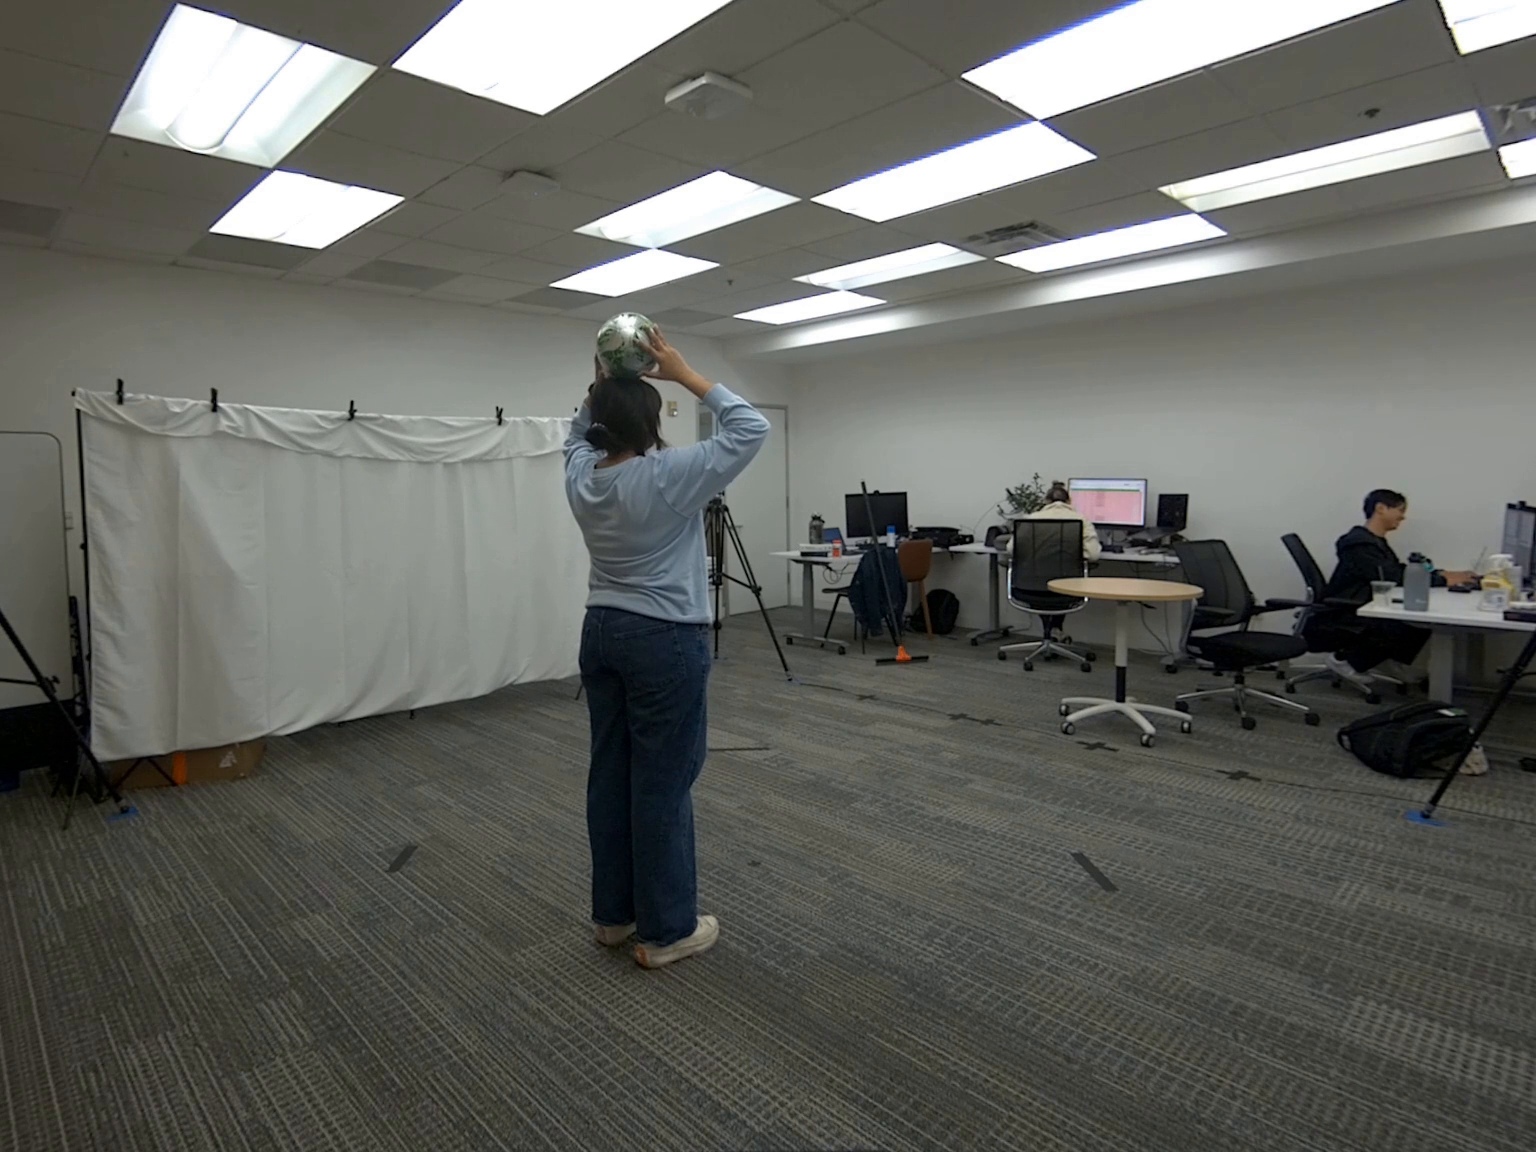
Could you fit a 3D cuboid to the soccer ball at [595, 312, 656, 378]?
[{"bbox_3d":[-0.391,-0.656,2.453,0.187,0.187,0.188,-1,5,-2],"label":"soccer ball"}]
